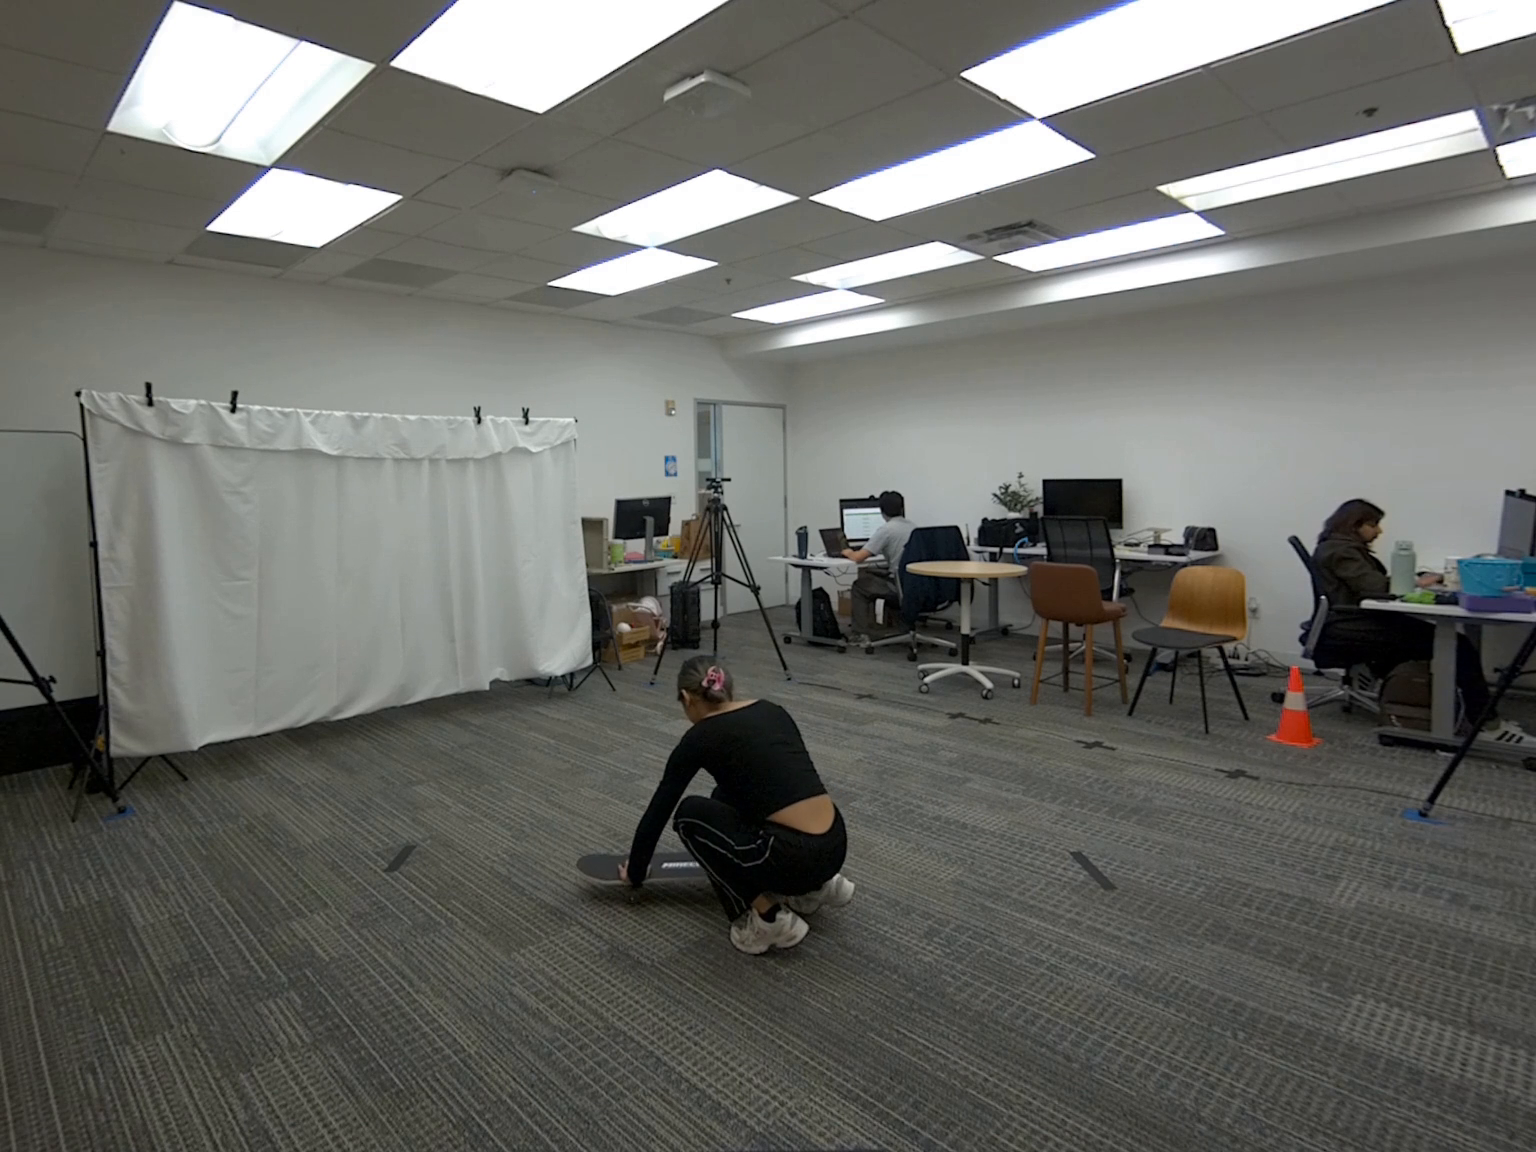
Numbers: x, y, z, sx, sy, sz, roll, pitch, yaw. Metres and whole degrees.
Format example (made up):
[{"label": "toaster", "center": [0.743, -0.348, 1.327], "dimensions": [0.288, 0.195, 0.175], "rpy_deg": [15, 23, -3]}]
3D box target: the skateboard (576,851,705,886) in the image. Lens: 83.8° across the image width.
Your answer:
[{"label": "skateboard", "center": [-0.252, 1.012, 2.901], "dimensions": [0.784, 0.110, 0.194], "rpy_deg": [-1, 5, -1]}]
